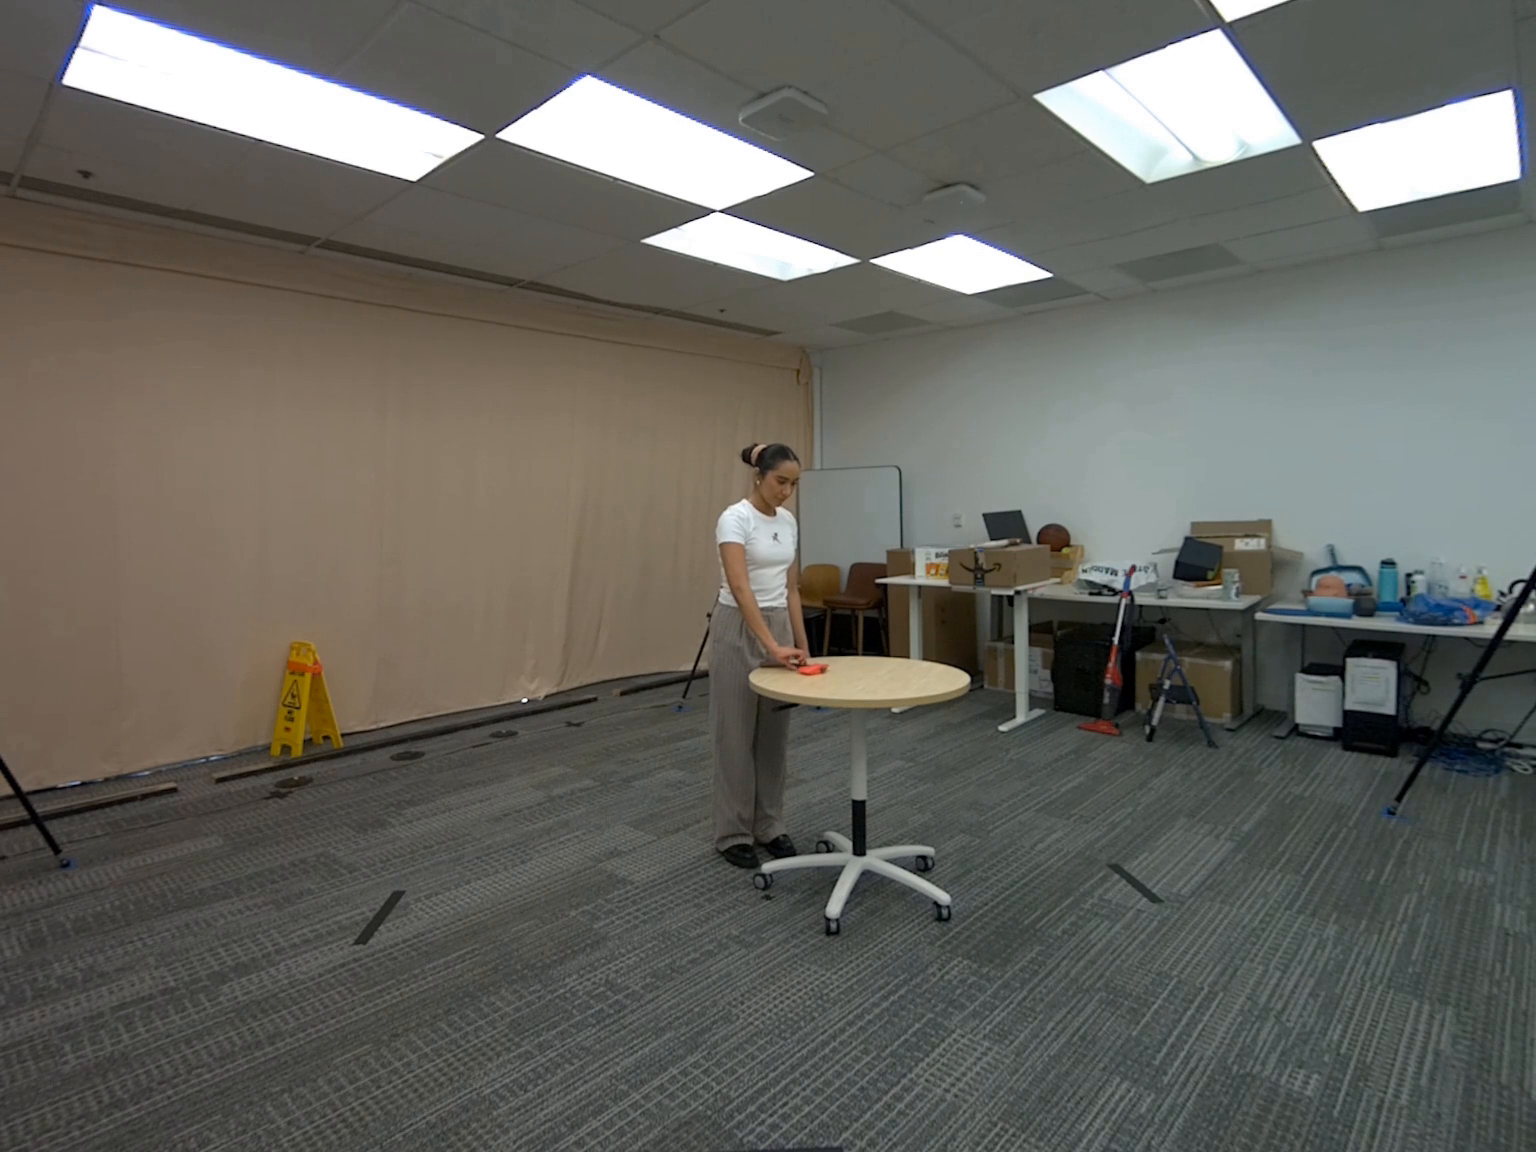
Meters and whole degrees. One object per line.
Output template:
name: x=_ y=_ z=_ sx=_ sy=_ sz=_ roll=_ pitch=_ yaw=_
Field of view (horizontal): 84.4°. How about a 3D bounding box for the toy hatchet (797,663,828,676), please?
toy hatchet: x=0.079 y=0.338 z=3.076 sx=0.276 sy=0.029 sz=0.129 roll=-2 pitch=9 yaw=24
